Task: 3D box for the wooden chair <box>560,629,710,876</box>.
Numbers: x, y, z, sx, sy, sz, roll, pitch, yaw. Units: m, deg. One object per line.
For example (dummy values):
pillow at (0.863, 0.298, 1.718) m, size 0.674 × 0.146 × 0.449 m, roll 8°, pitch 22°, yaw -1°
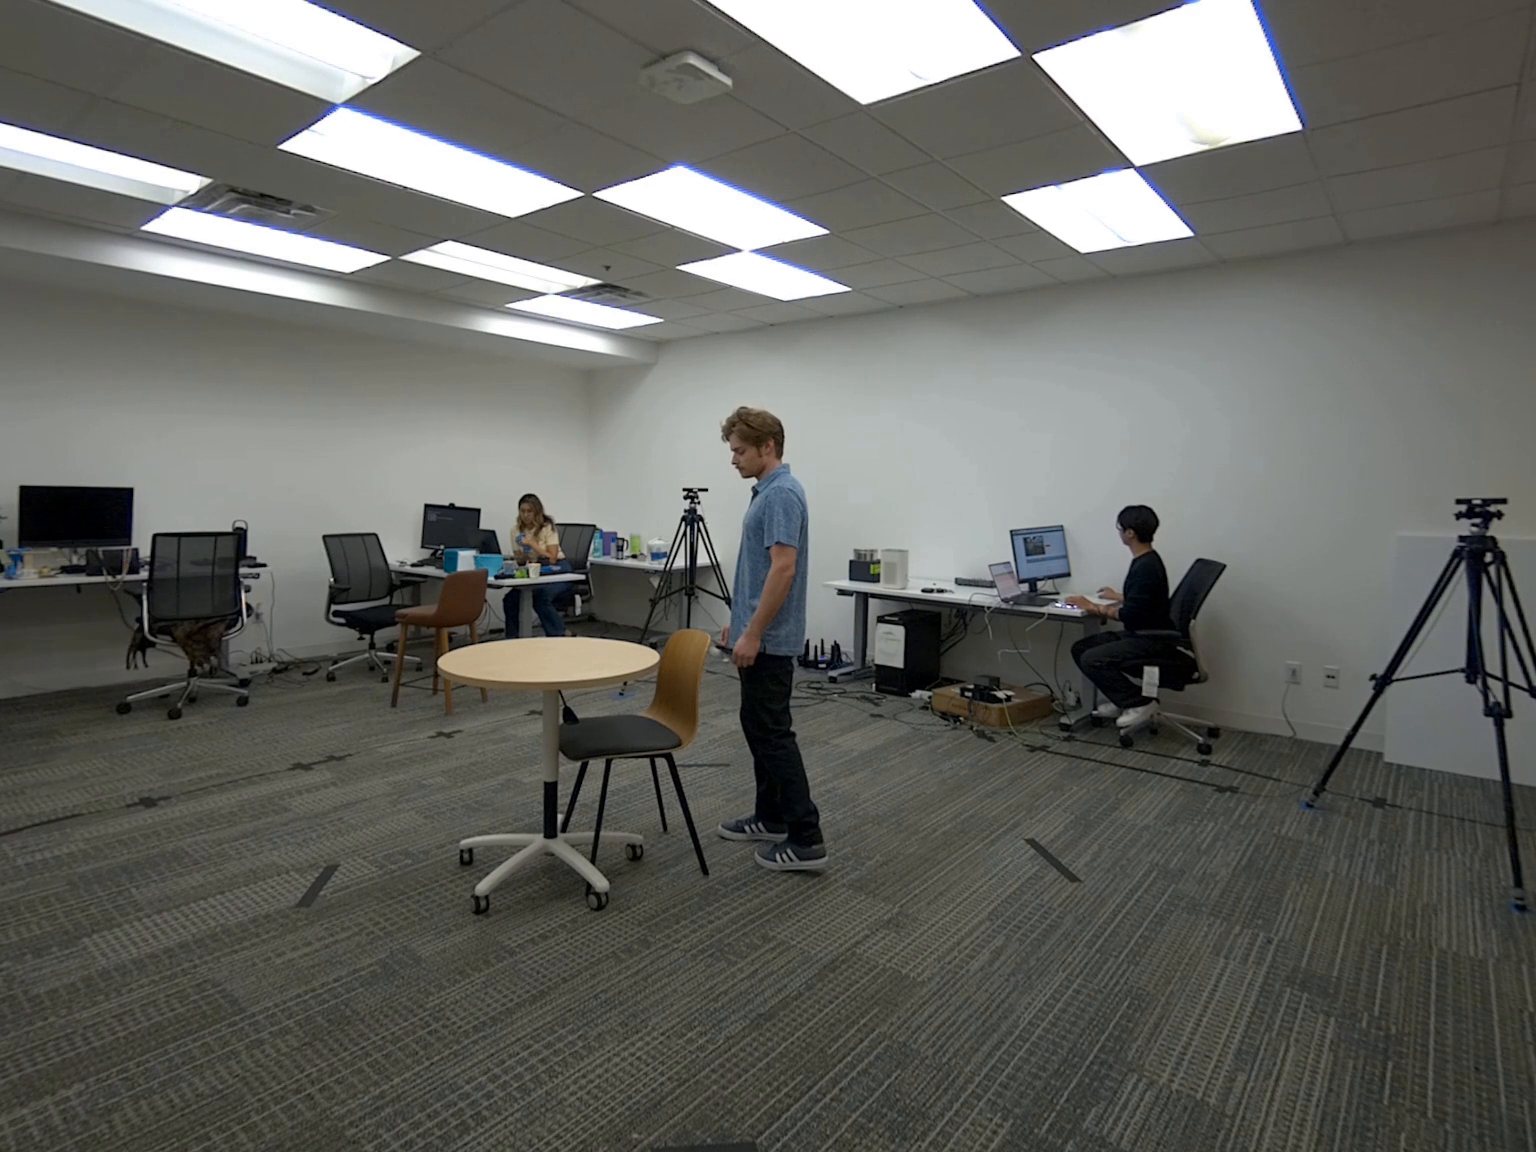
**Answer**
wooden chair at (-0.519, 0.627, 3.148) m, size 0.510 × 0.876 × 0.491 m, roll 4°, pitch 2°, yaw -26°
